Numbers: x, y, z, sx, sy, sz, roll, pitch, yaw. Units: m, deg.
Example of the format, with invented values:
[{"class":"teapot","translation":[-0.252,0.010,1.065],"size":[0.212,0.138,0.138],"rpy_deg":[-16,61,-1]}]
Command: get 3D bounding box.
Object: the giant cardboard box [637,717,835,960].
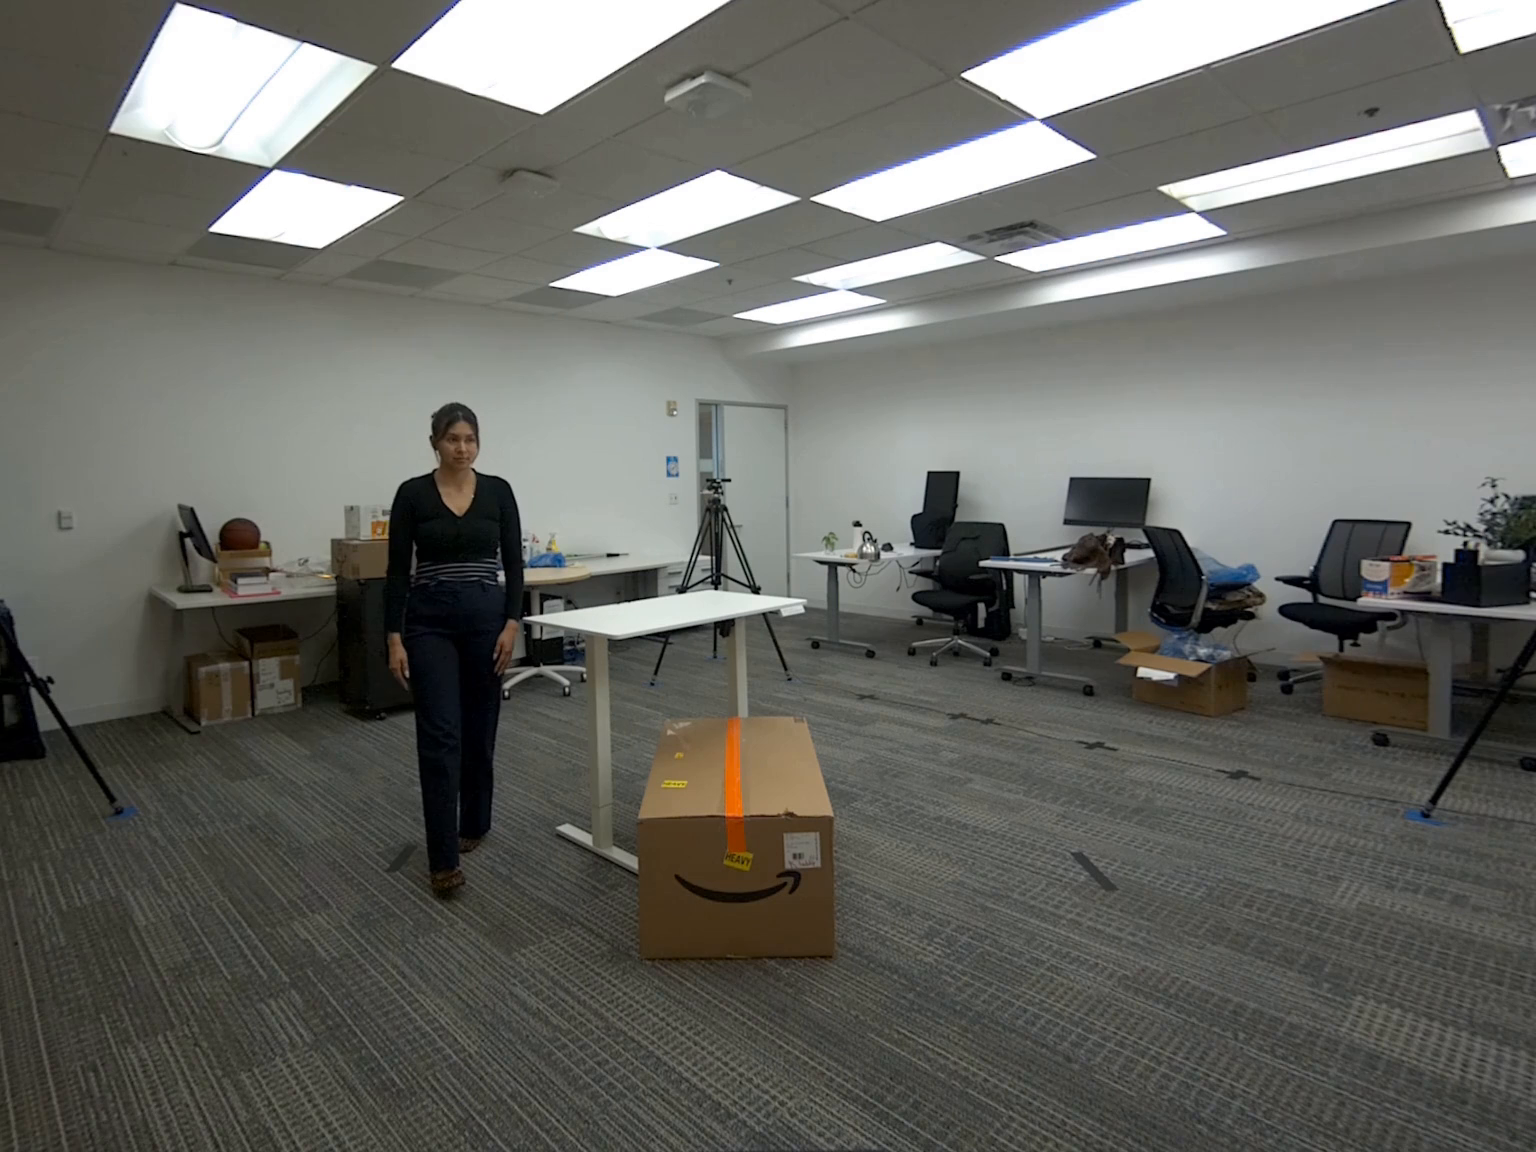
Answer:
[{"class":"giant cardboard box","translation":[-0.109,0.843,2.982],"size":[0.577,0.424,1.031],"rpy_deg":[-2,6,-2]}]
